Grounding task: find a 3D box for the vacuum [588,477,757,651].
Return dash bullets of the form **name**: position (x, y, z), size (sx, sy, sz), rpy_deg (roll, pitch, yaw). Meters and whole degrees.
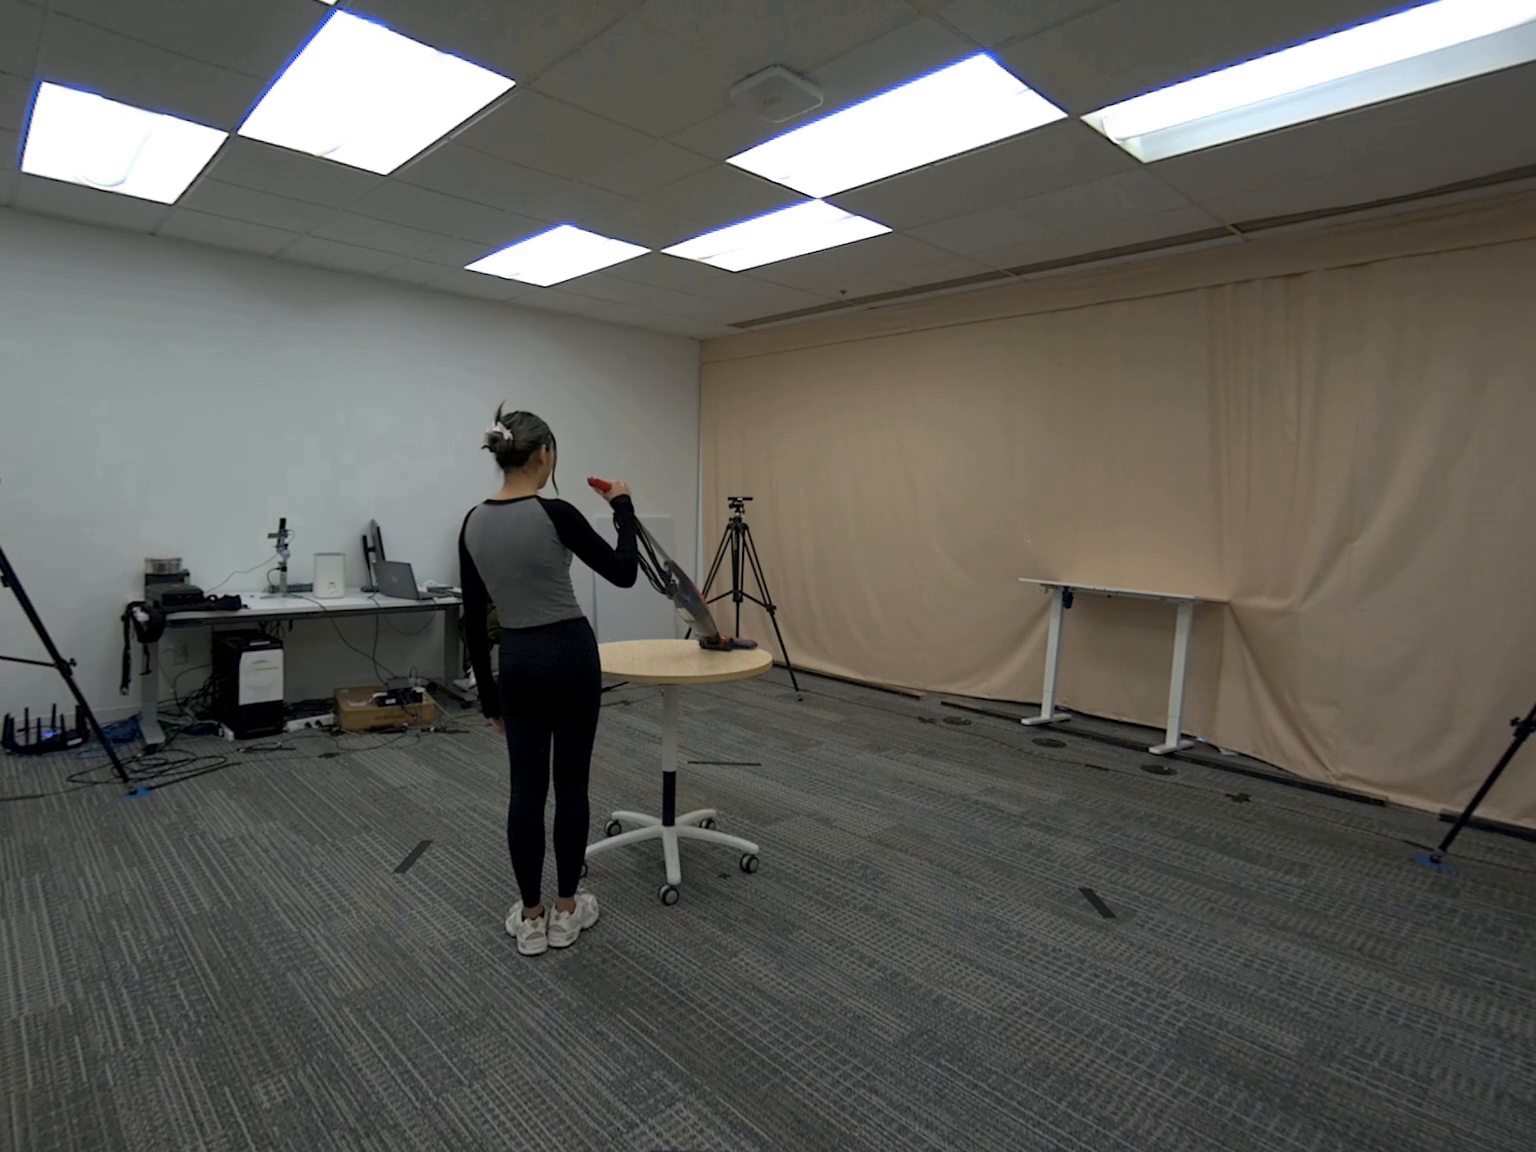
- **vacuum**: position (-0.371, -0.004, 3.001), size (0.259, 0.145, 1.017), rpy_deg (14, -25, 32)
